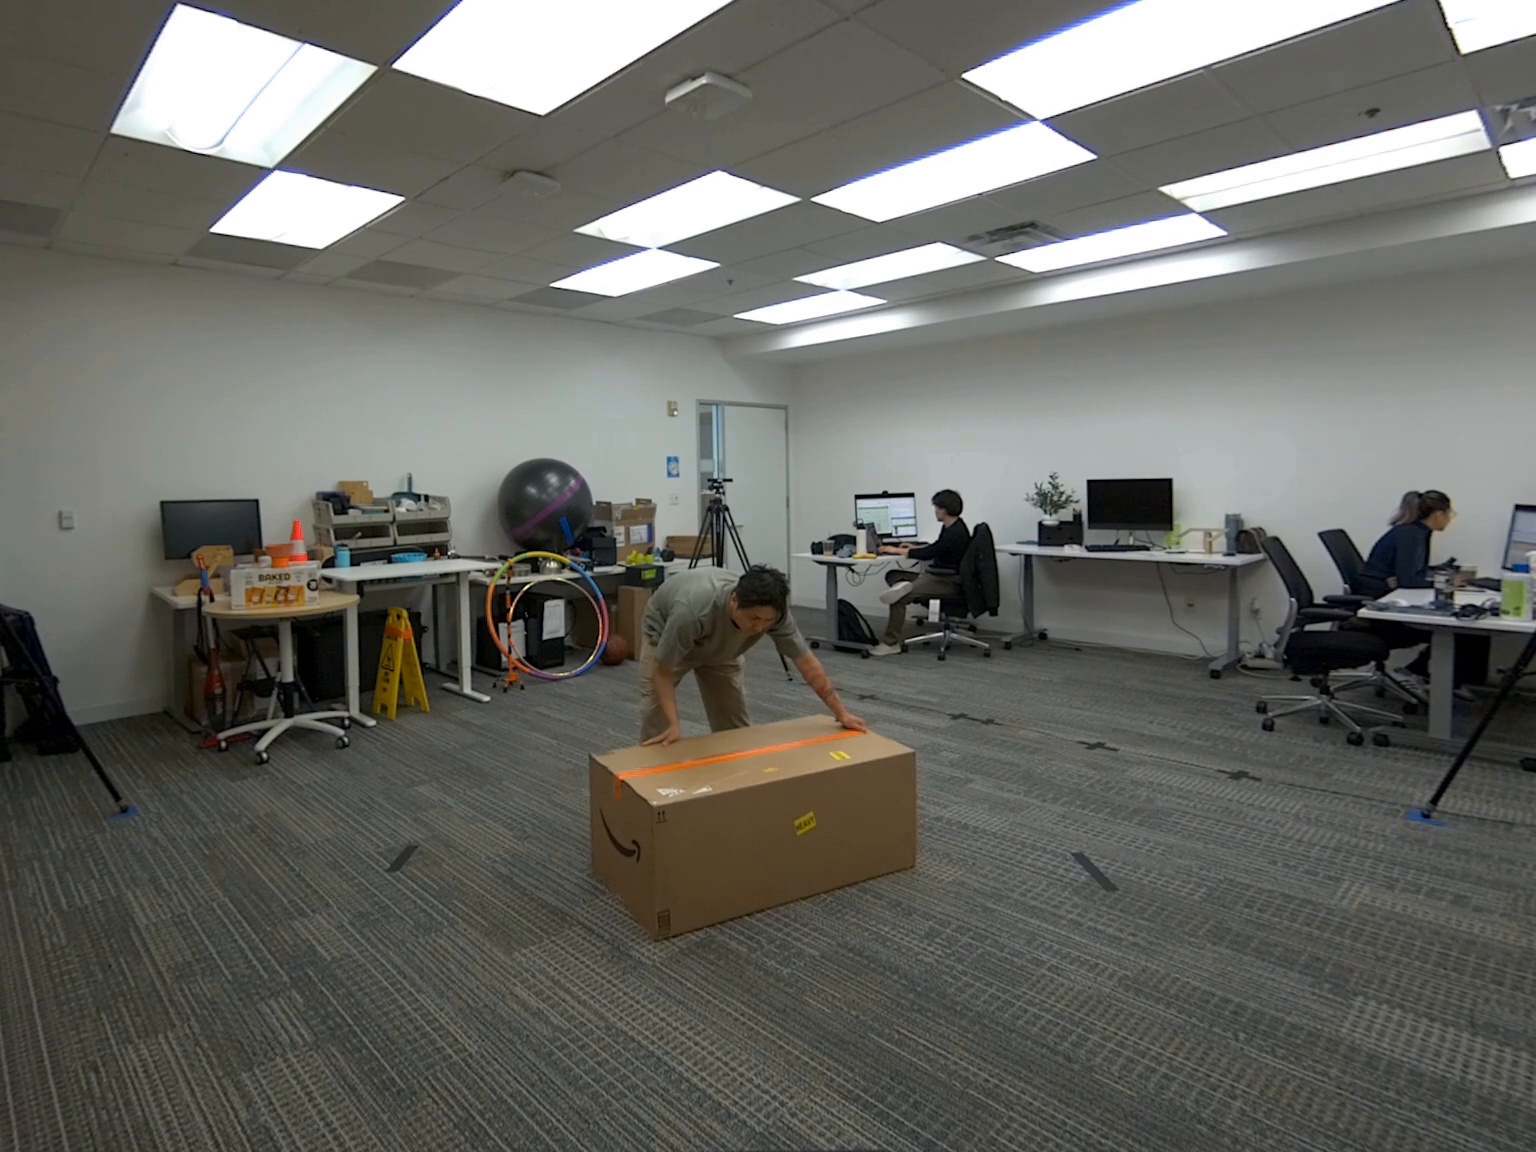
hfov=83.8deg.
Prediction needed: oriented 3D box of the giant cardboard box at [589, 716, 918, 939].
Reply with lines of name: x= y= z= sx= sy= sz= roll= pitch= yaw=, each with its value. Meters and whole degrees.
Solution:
giant cardboard box: x=-0.052 y=0.835 z=3.052 sx=1.002 sy=0.424 sz=0.593 roll=-4 pitch=6 yaw=-29
